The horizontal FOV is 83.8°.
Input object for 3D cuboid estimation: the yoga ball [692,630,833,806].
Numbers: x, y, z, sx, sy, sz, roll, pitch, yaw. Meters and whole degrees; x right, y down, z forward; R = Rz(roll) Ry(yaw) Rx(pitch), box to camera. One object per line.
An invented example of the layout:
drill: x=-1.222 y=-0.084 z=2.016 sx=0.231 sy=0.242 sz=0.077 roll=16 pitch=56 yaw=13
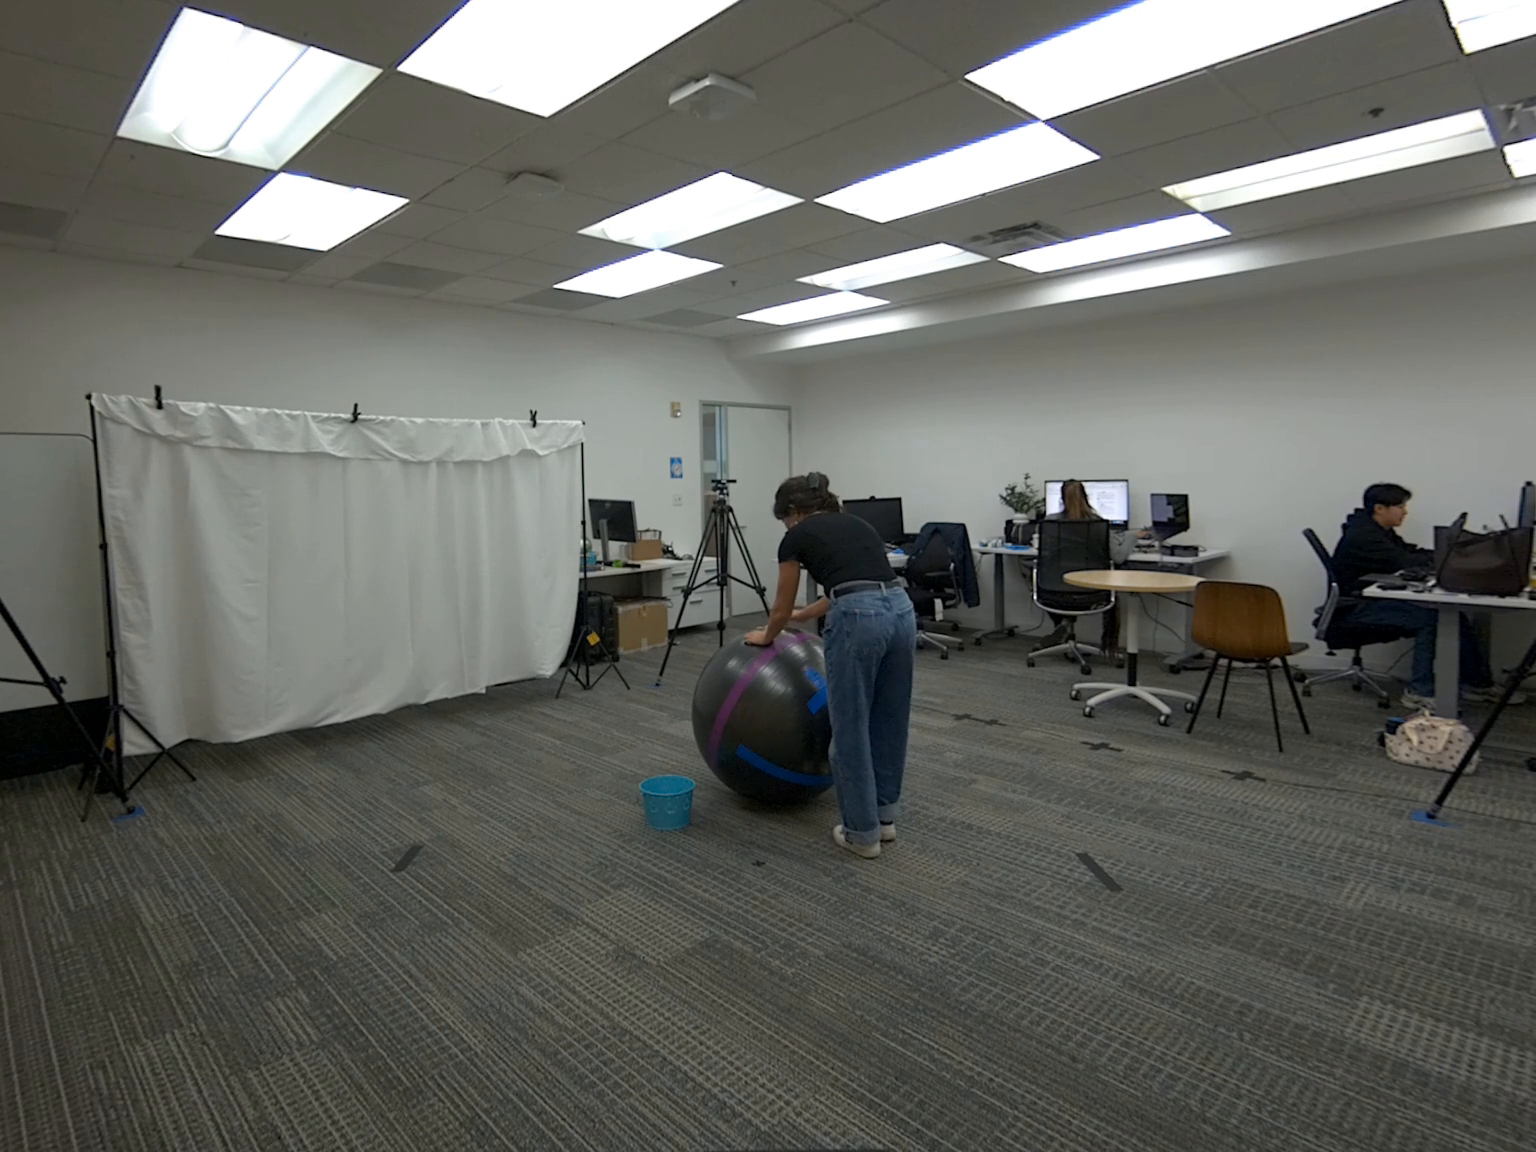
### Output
yoga ball: x=0.042 y=0.601 z=3.744 sx=0.757 sy=0.755 sz=0.762 roll=-1 pitch=5 yaw=-2
